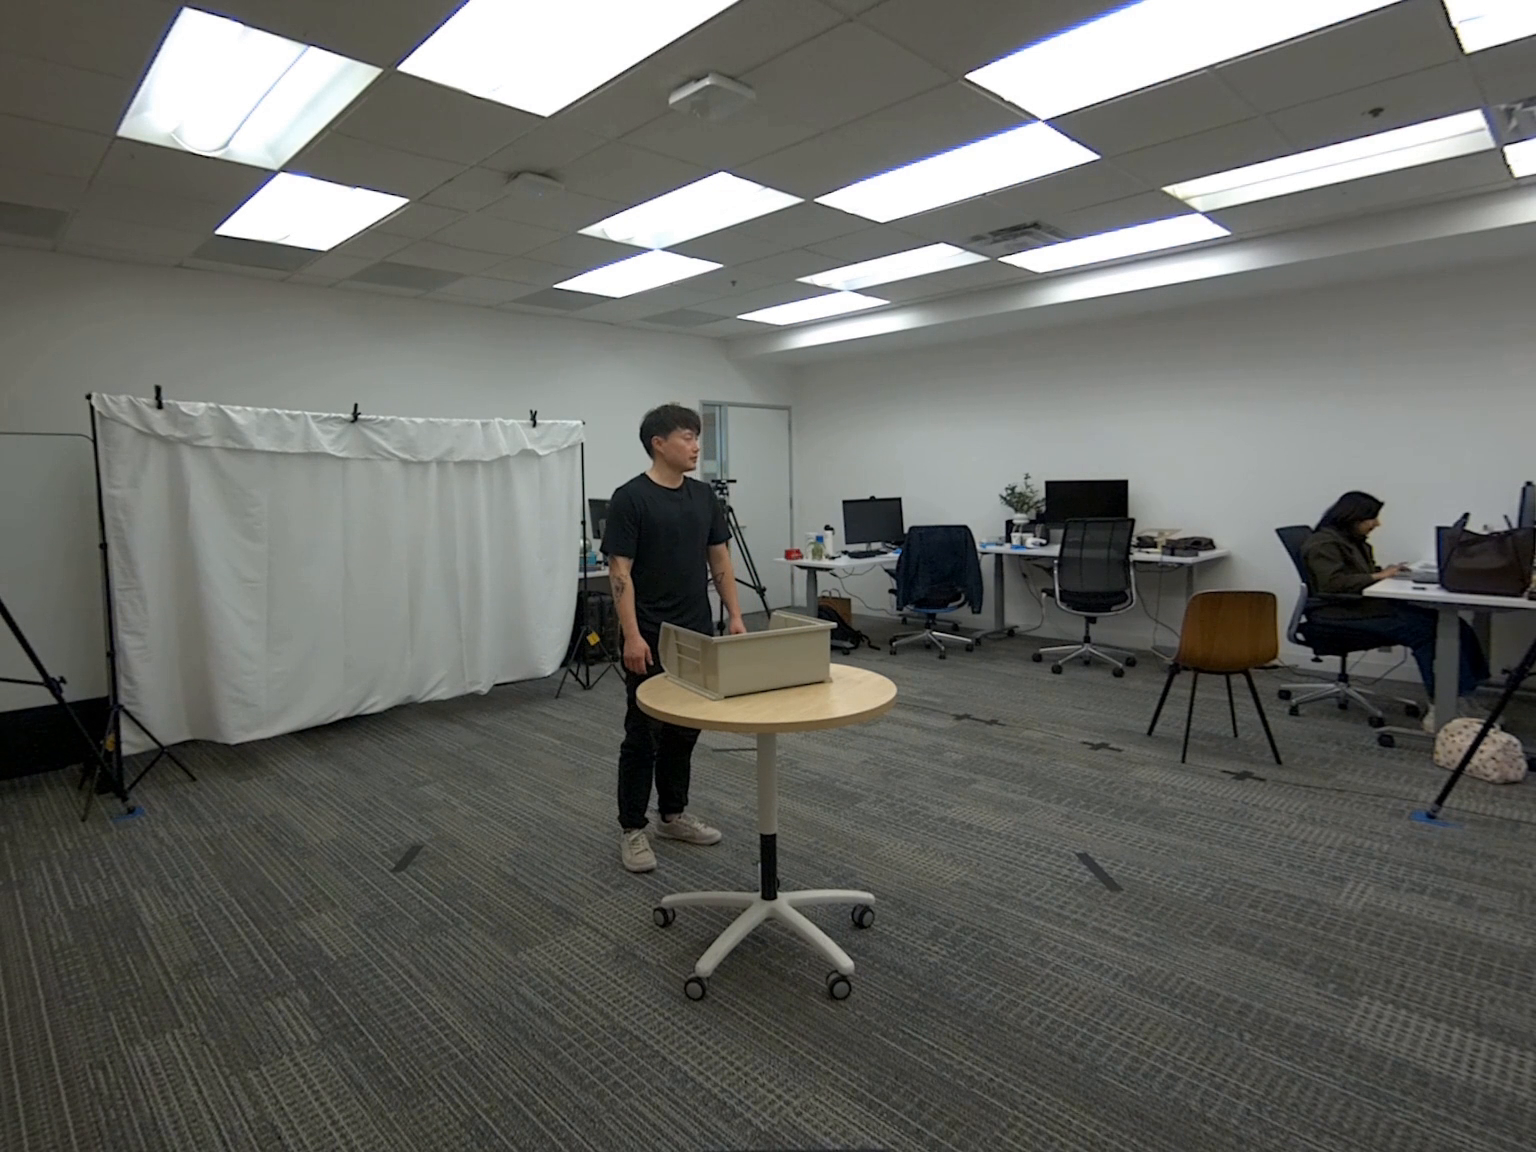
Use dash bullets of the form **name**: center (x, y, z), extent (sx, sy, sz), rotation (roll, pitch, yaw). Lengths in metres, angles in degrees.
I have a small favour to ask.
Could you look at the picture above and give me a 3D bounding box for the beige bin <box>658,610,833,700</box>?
- **beige bin**: center (-0.073, 0.232, 2.627), extent (0.412, 0.188, 0.388), rotation (-4, 8, -30)
